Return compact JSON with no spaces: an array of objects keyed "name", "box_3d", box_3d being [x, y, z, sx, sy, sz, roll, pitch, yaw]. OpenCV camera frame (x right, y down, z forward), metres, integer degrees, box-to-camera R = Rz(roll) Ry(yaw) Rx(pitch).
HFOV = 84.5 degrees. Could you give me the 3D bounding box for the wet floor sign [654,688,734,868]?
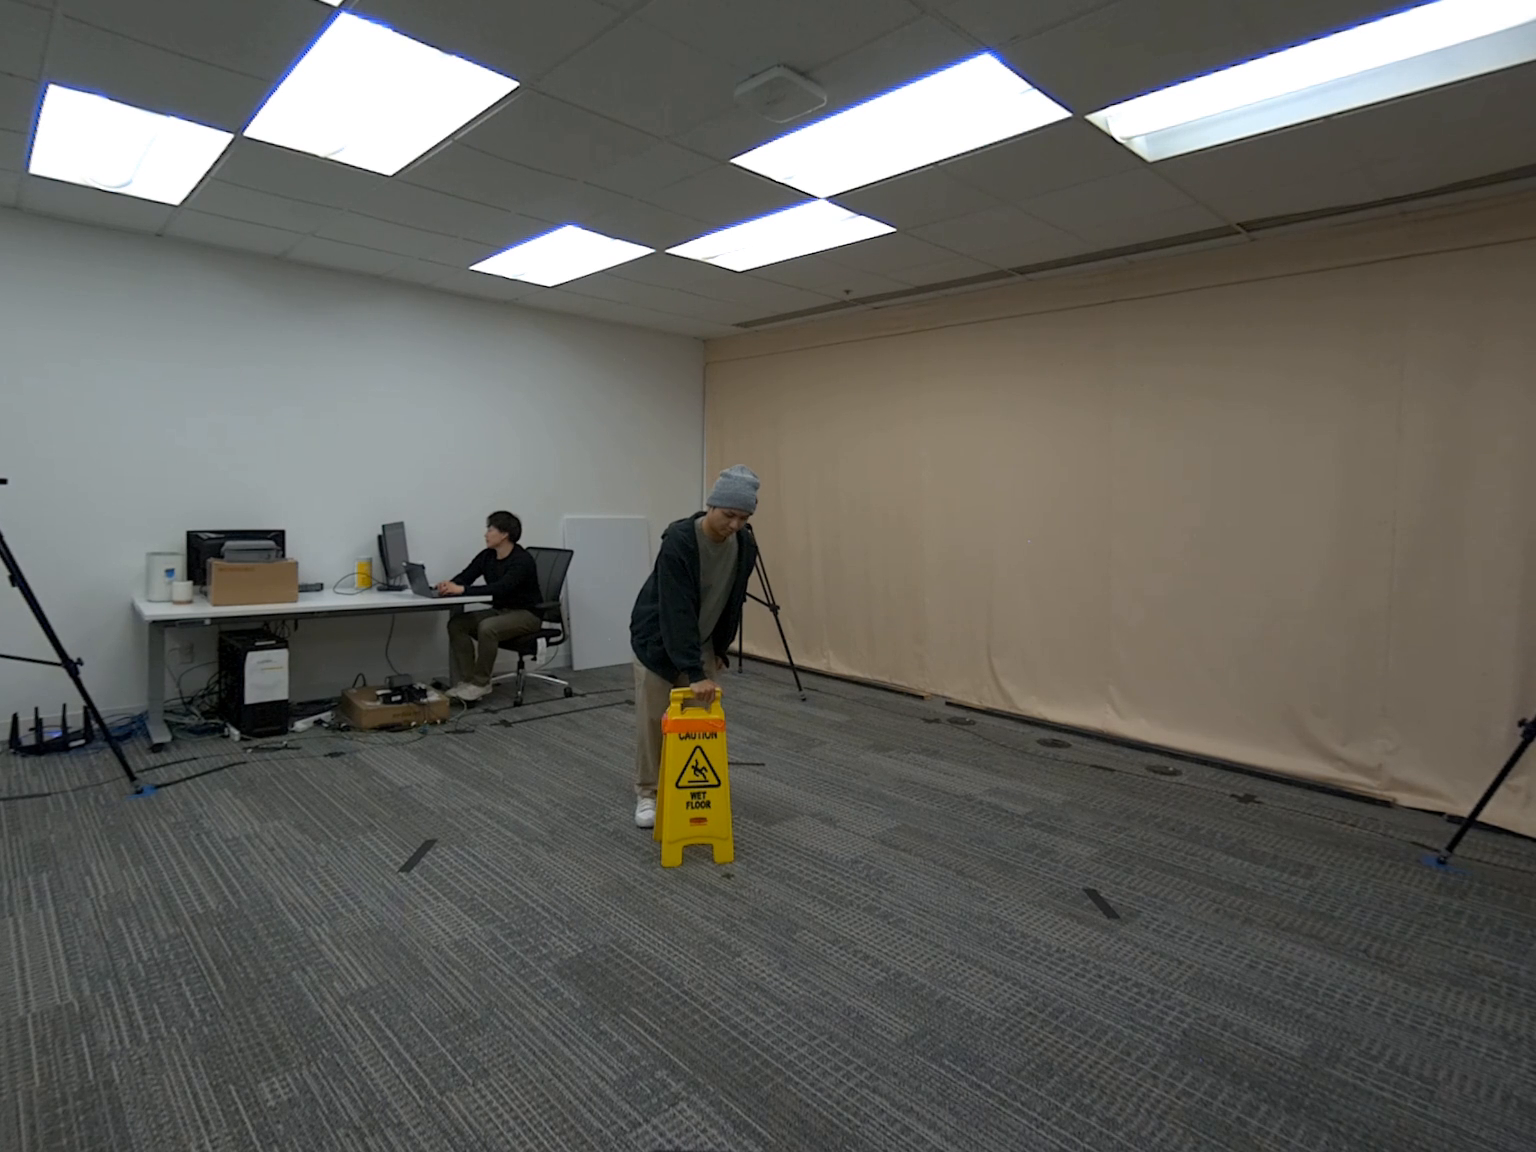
[{"name":"wet floor sign","box_3d":[-0.301,0.757,3.304,0.279,0.644,0.293,2,4,-13]}]
